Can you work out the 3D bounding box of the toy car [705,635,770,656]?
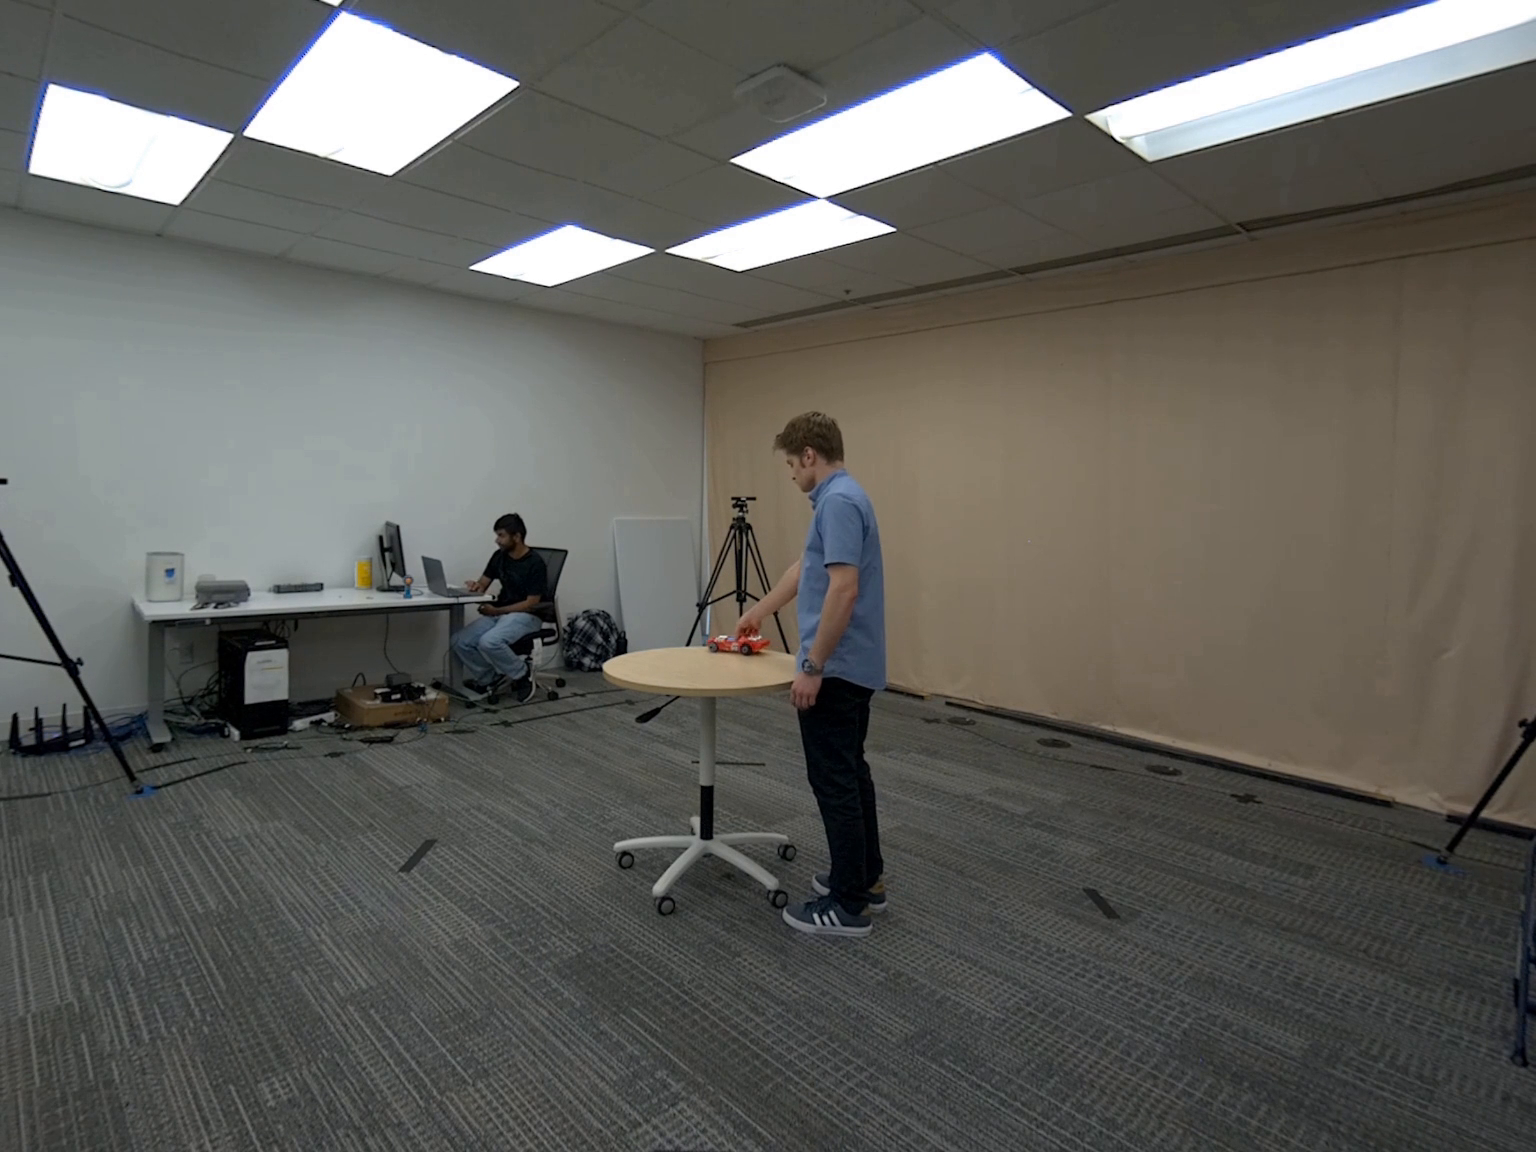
[{"bbox_3d":[-0.117,0.273,3.313,0.258,0.083,0.128,-9,-1,27],"label":"toy car"}]
